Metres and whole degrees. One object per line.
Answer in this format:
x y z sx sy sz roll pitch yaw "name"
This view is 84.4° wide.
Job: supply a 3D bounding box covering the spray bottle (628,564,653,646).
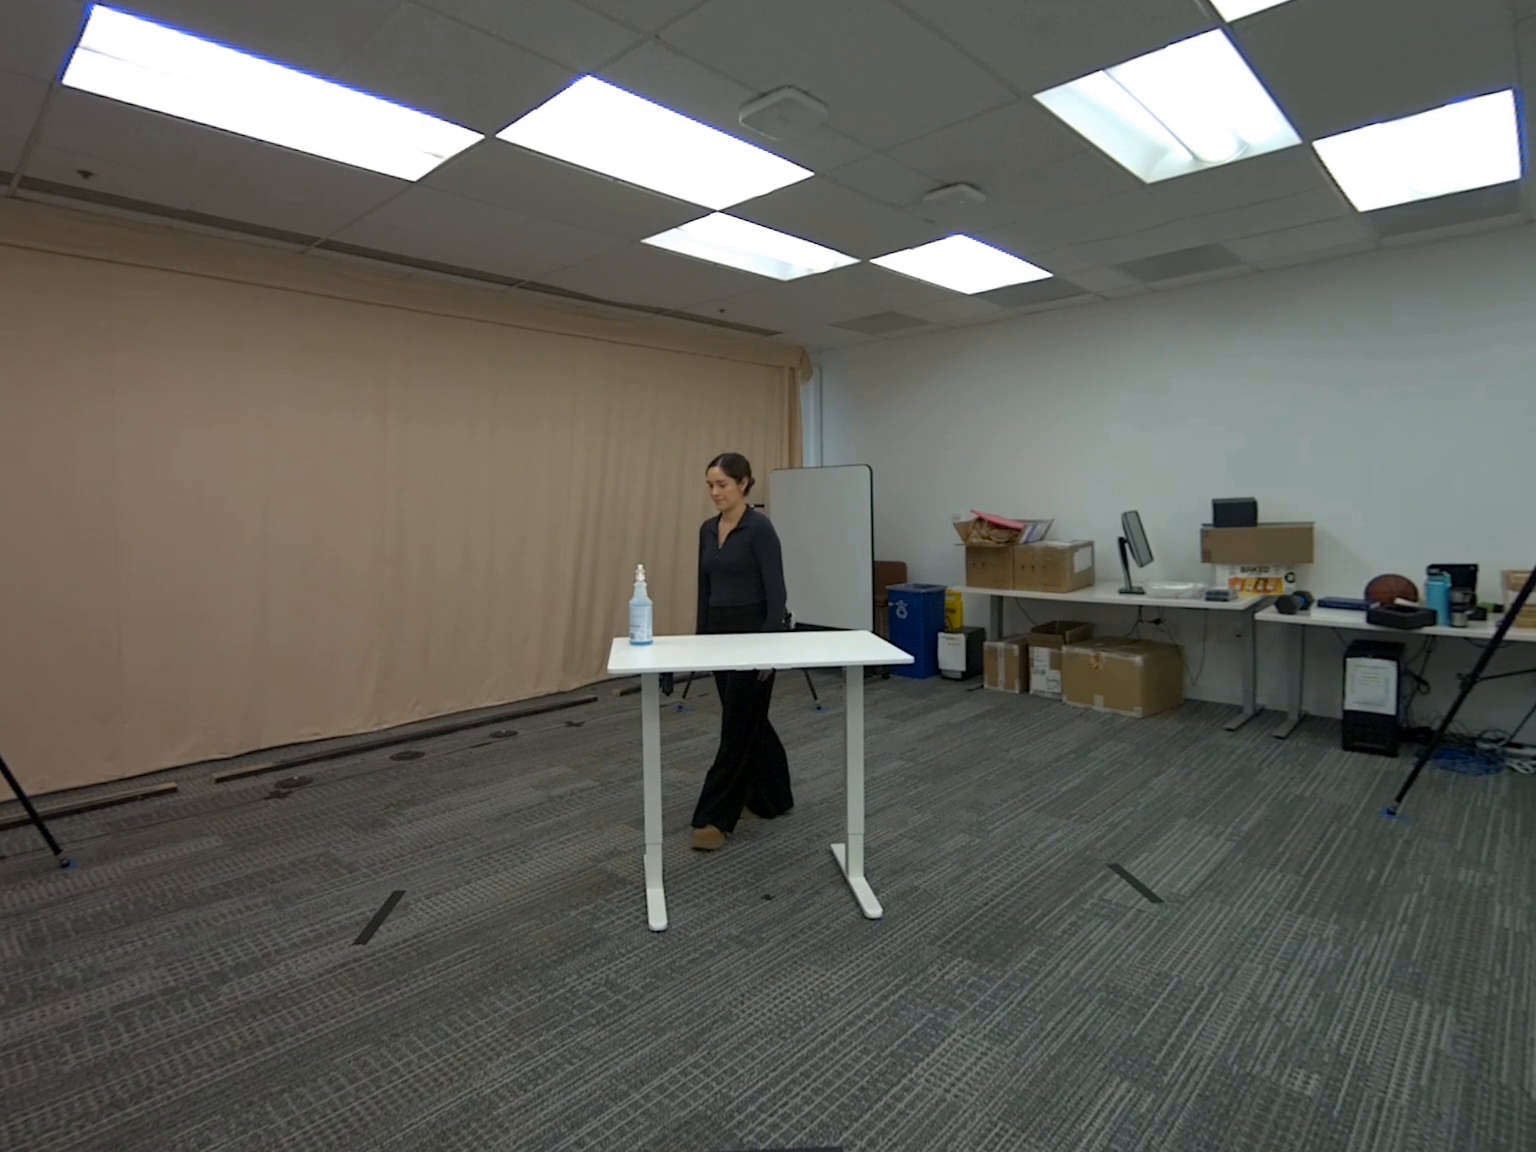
-0.471 0.110 3.126 0.089 0.296 0.088 0 4 18 "spray bottle"
